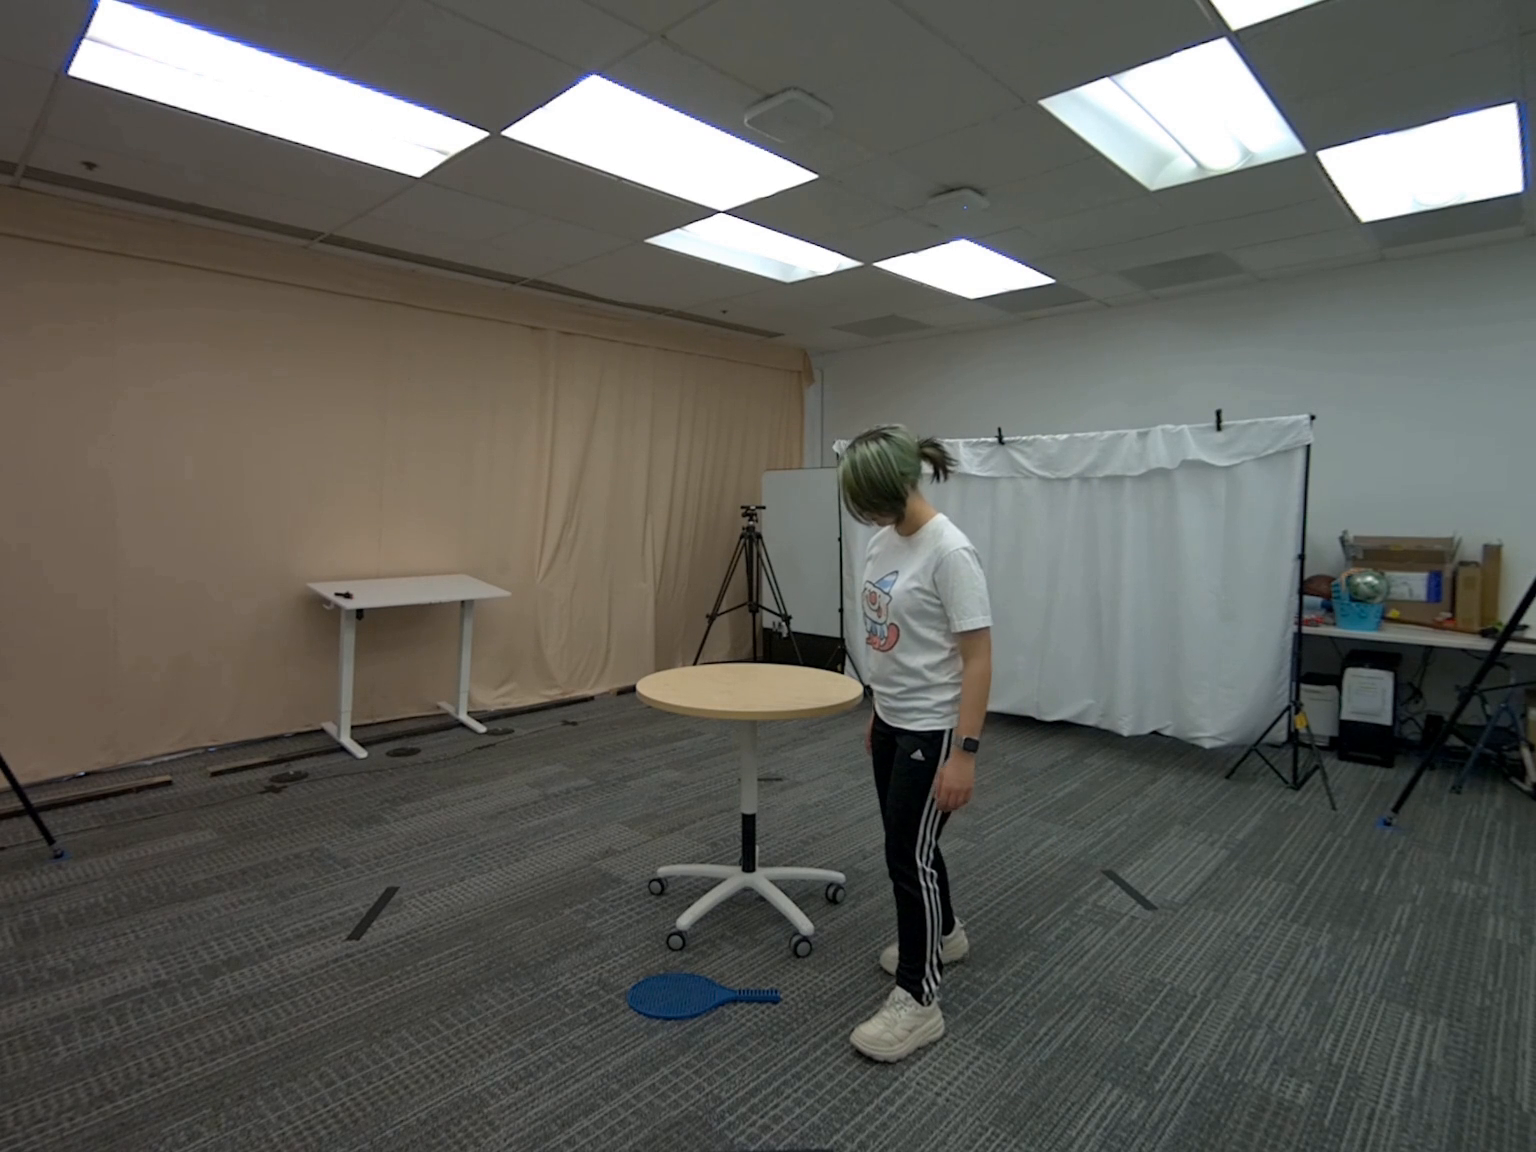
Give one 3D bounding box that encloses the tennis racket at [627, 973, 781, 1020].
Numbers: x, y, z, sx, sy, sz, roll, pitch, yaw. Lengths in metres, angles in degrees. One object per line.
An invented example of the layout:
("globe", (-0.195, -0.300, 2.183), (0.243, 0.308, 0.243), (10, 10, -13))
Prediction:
("tennis racket", (-0.182, 1.178, 2.387), (0.434, 0.032, 0.214), (-2, 4, 2))
